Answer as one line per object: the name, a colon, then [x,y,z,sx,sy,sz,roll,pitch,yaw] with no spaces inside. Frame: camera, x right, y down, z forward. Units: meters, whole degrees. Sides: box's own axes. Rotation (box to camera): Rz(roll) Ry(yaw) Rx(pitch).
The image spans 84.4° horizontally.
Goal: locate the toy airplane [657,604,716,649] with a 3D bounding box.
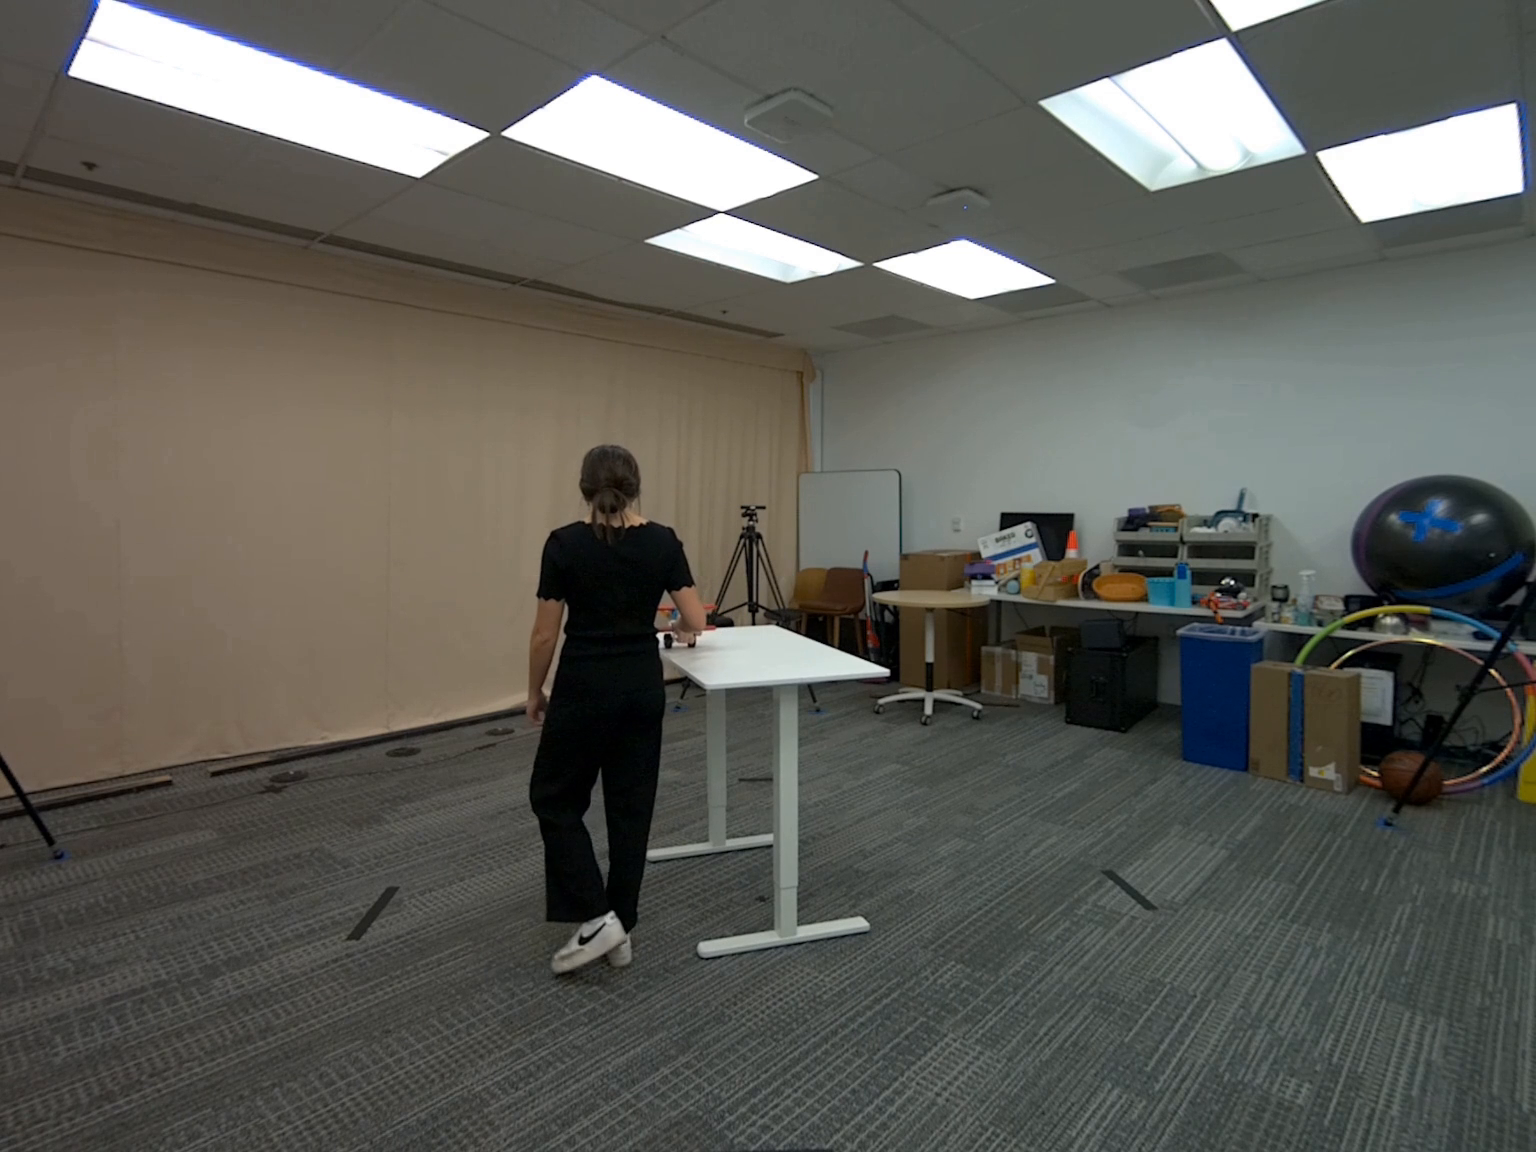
toy airplane: [-0.284,0.163,2.966,0.243,0.158,0.265,6,-18,-37]
